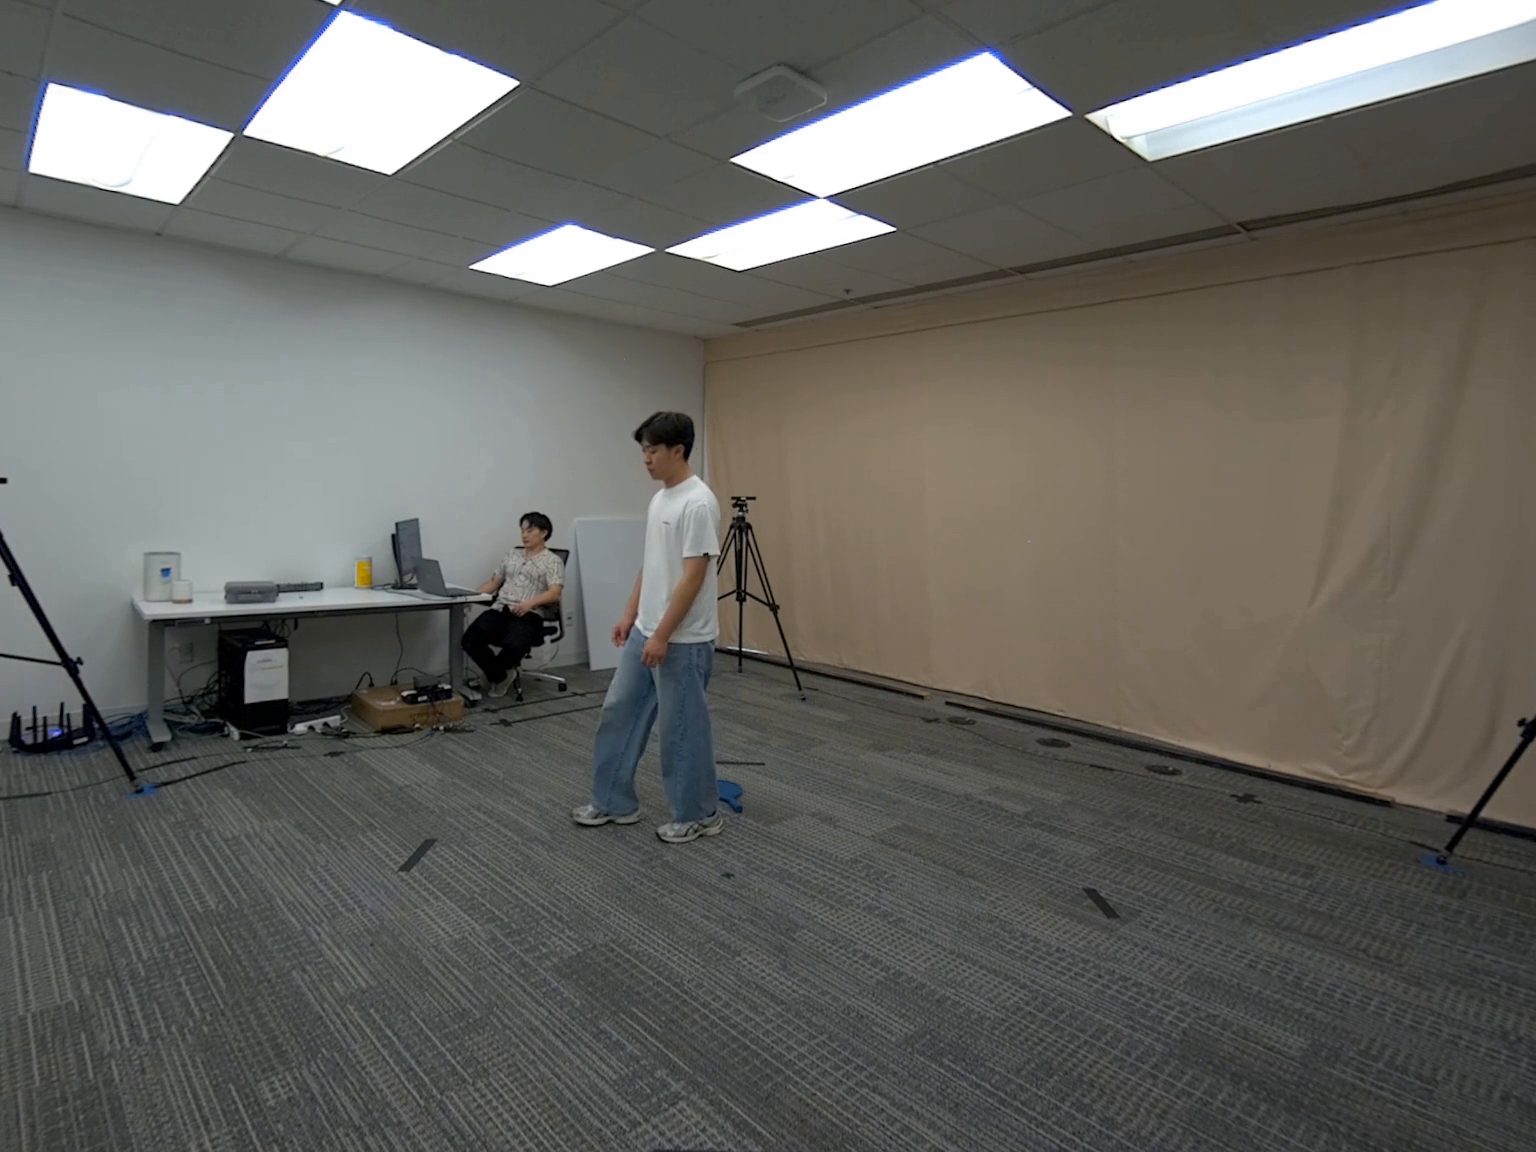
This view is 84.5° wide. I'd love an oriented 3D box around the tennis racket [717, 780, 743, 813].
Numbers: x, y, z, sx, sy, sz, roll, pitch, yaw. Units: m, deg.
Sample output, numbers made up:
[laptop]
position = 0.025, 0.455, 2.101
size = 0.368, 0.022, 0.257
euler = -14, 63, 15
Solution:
[tennis racket]
position = -0.216, 1.015, 3.935
size = 0.211, 0.032, 0.439
euler = 0, 4, -17
